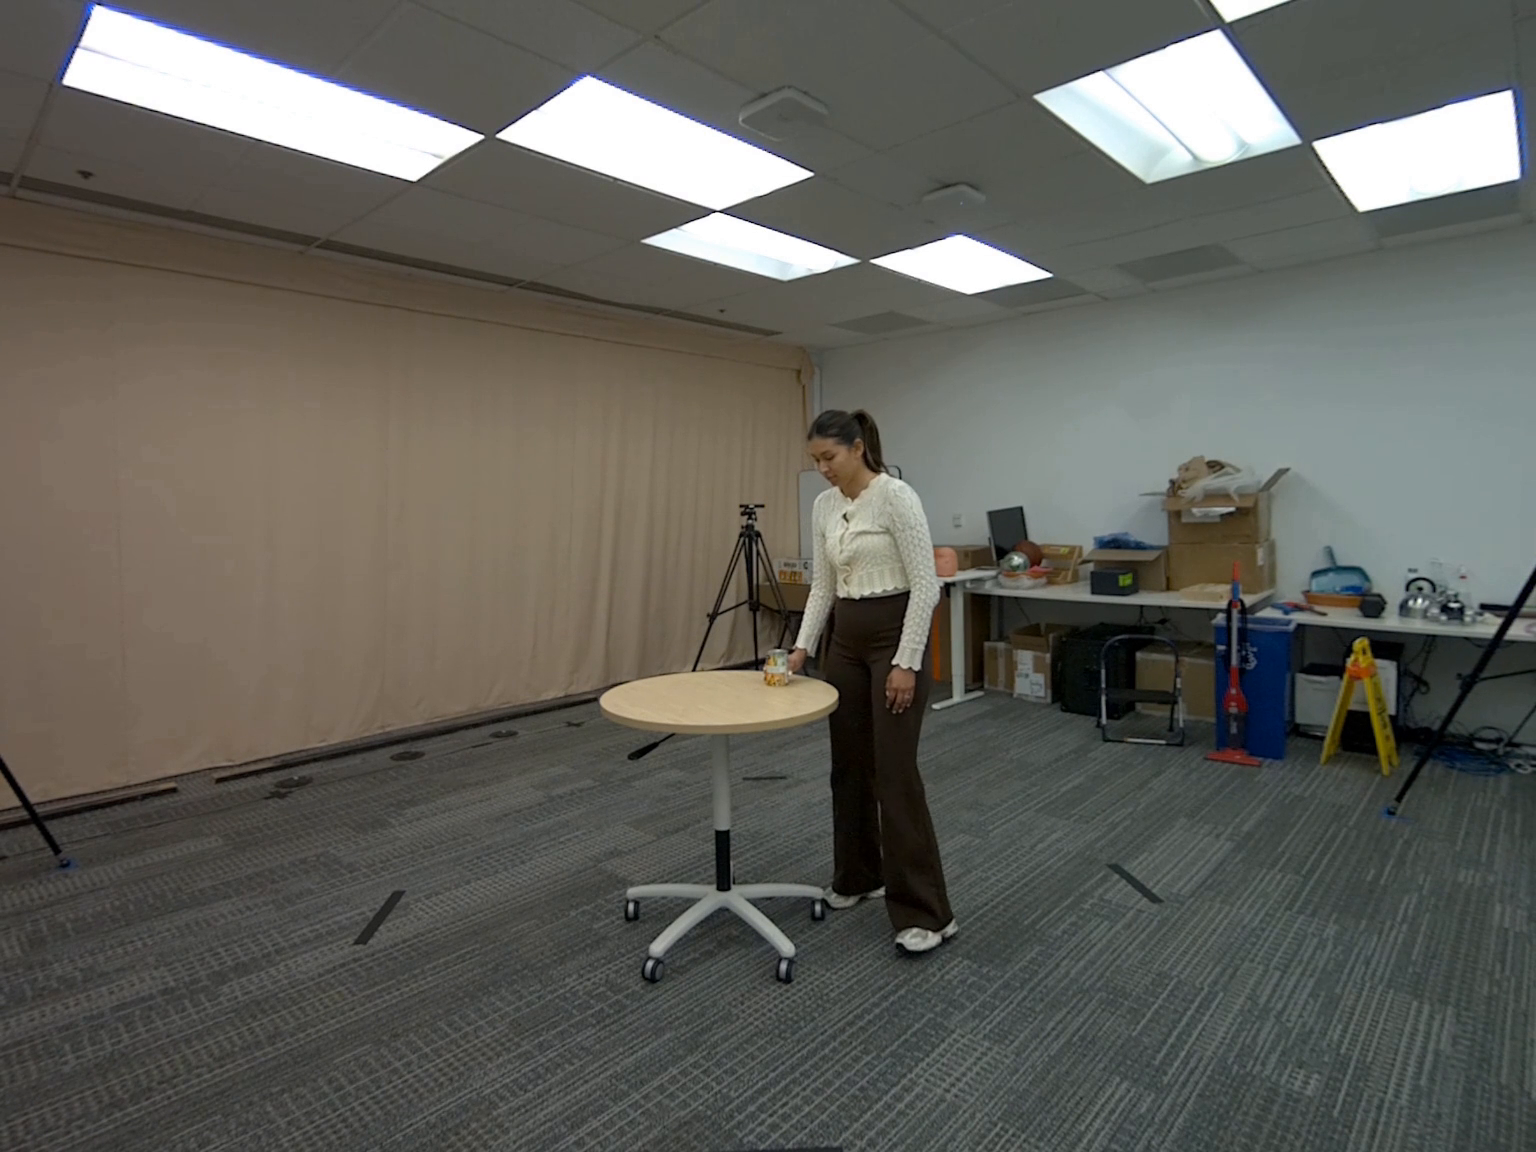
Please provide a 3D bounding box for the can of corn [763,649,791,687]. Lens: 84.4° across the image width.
[{"bbox_3d":[0.037,0.311,2.846,0.074,0.111,0.074,-1,2,-2],"label":"can of corn"}]
